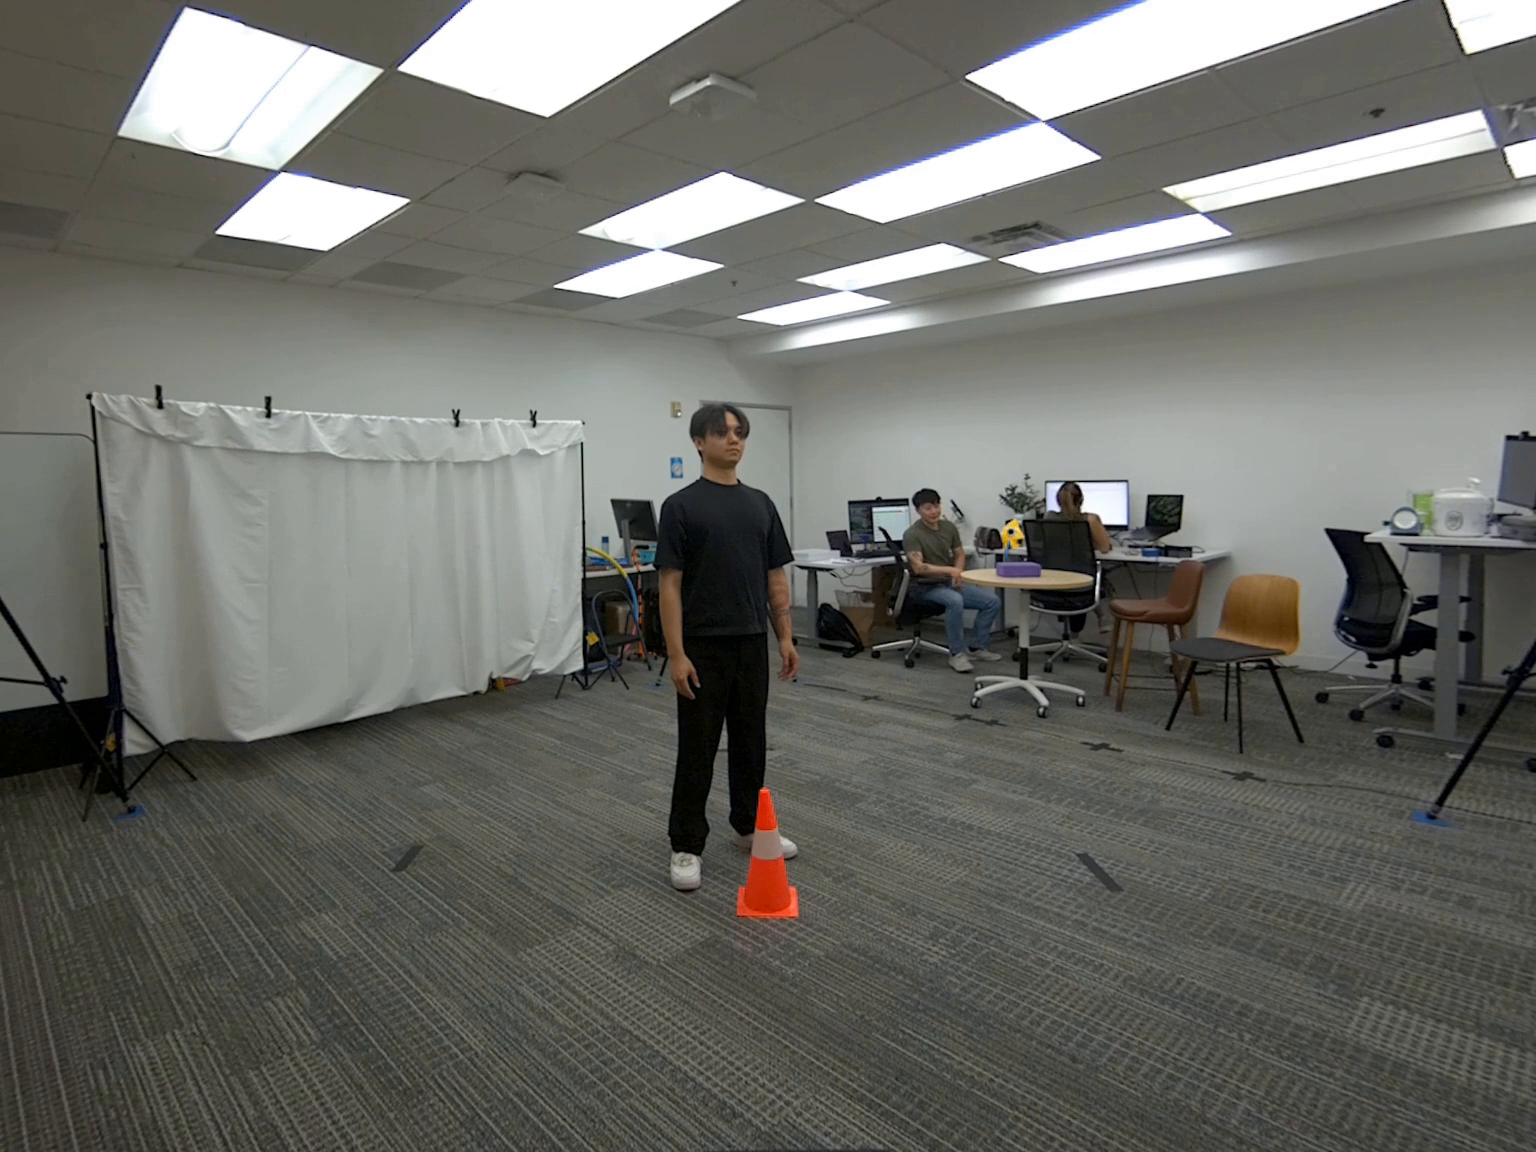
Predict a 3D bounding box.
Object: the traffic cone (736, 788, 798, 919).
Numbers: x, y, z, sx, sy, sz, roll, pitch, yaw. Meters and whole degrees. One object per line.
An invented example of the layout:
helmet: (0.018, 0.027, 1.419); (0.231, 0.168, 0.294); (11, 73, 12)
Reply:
traffic cone: (0.008, 0.896, 2.812); (0.206, 0.382, 0.204); (1, 6, 2)
